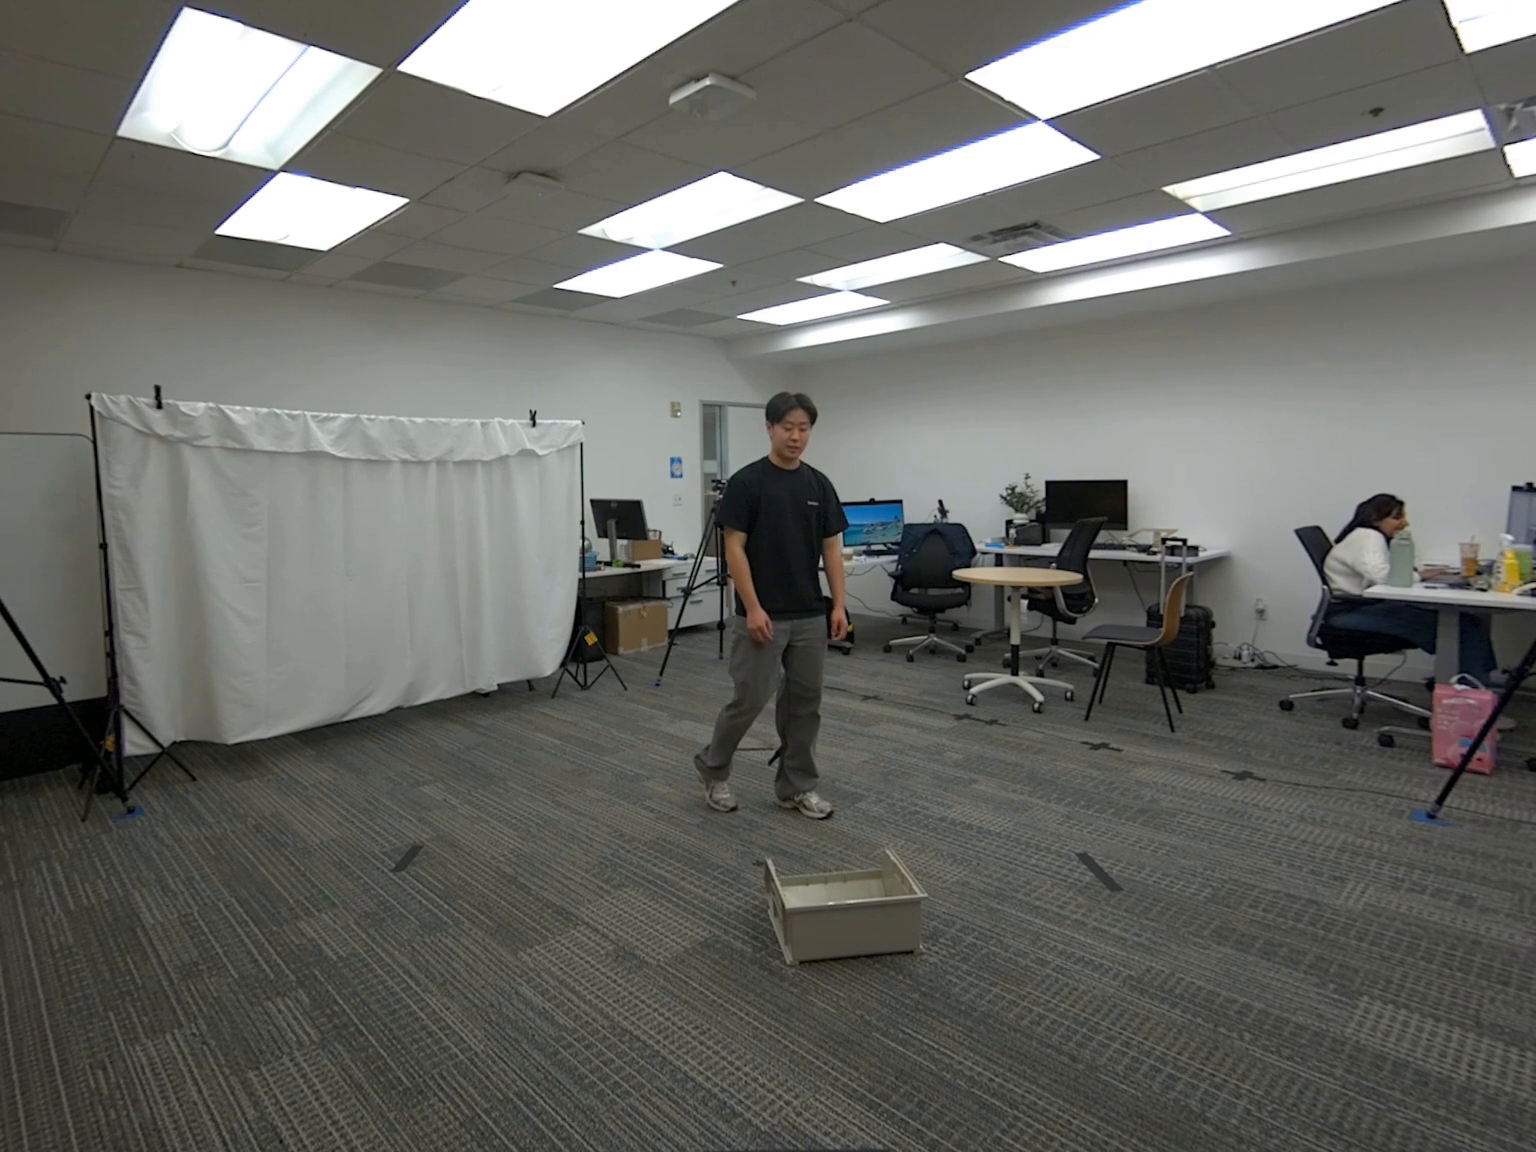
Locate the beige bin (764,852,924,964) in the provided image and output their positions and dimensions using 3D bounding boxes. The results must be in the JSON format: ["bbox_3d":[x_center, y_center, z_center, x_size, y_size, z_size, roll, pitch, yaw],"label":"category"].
[{"bbox_3d":[0.231,1.016,2.642,0.418,0.188,0.383,-2,8,-11],"label":"beige bin"}]
